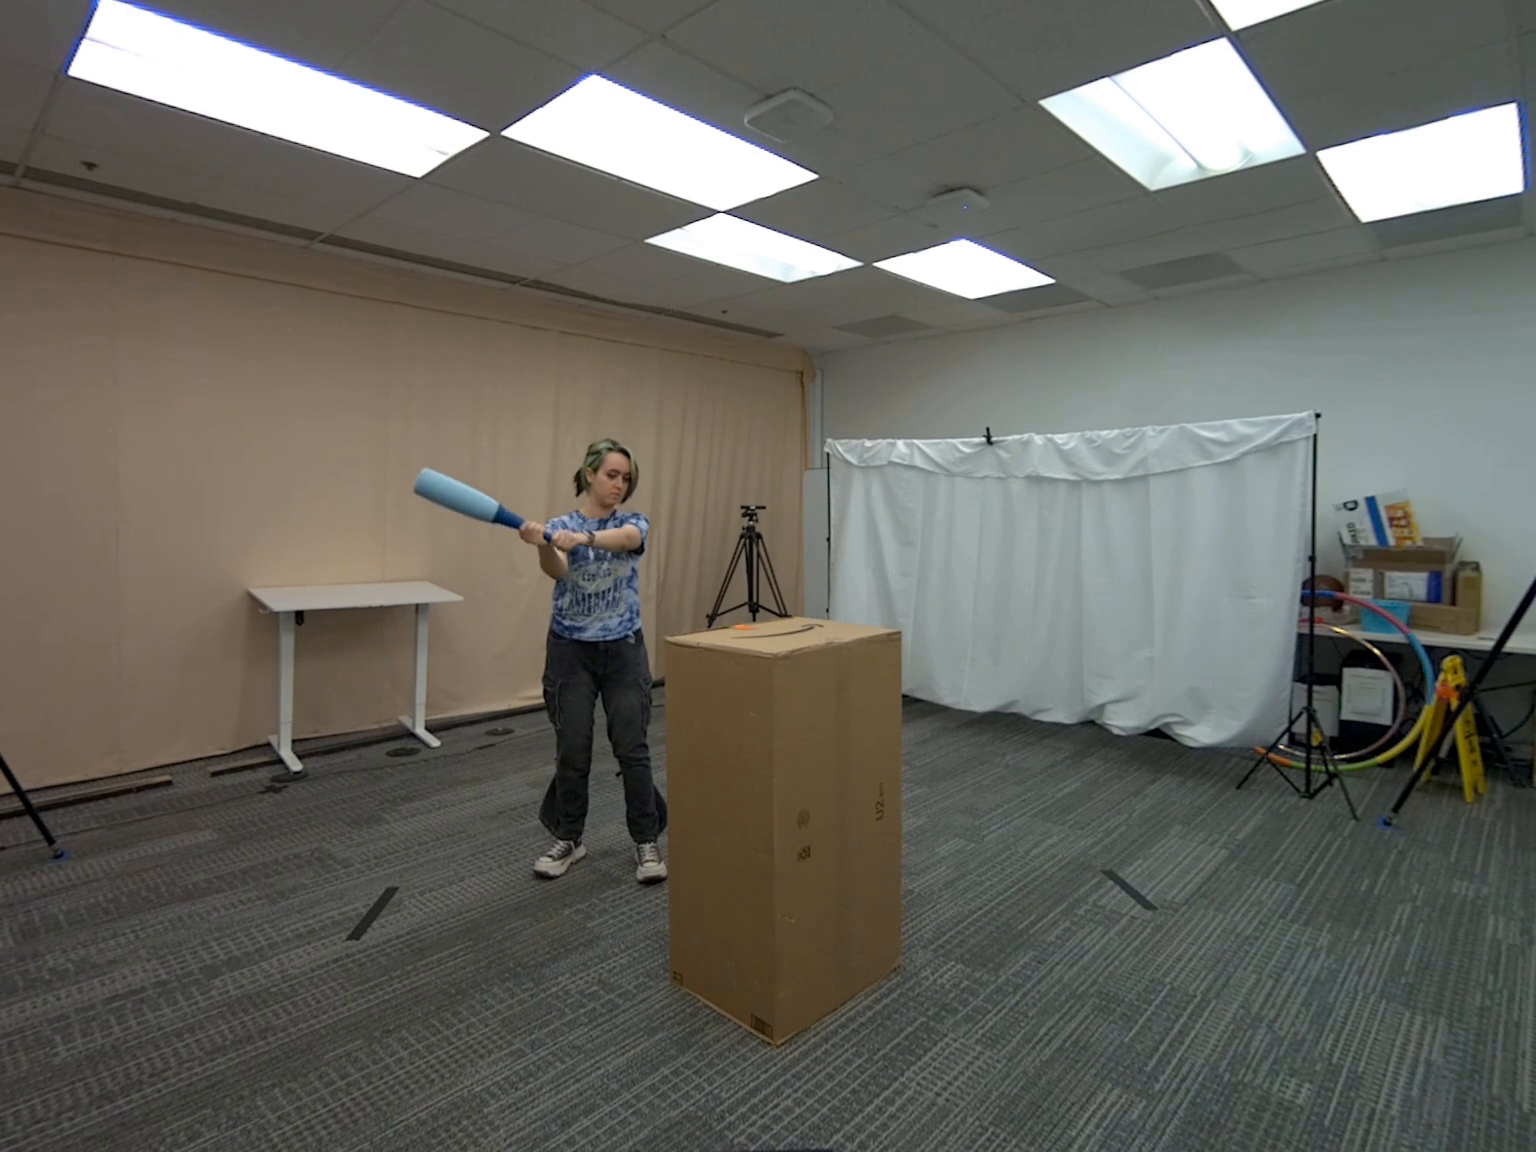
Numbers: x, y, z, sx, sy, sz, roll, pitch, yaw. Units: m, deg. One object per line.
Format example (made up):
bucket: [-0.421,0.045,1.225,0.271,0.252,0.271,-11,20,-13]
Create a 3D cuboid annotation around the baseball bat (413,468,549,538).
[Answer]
baseball bat: [-0.824,-0.177,2.649,0.529,0.089,0.091,25,-7,-22]
